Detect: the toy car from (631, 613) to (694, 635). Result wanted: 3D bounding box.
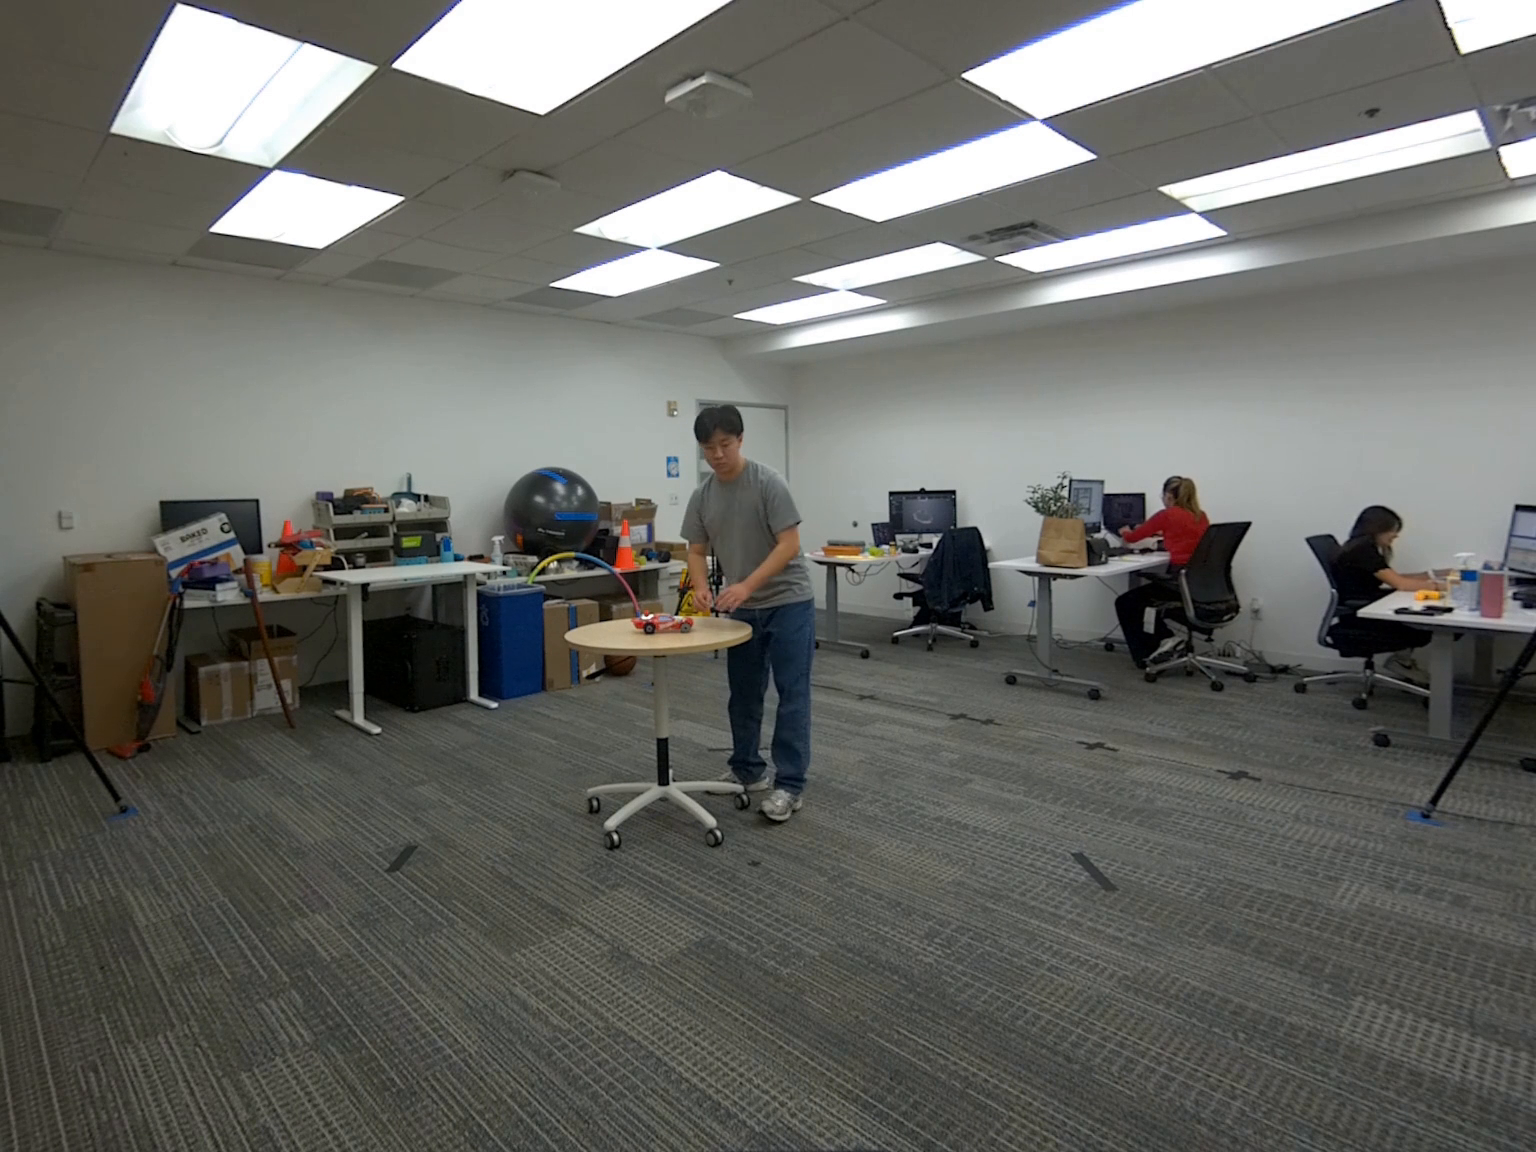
[{"bbox_3d":[-0.435,0.196,3.481,0.253,0.083,0.131,9,4,-4],"label":"toy car"}]
